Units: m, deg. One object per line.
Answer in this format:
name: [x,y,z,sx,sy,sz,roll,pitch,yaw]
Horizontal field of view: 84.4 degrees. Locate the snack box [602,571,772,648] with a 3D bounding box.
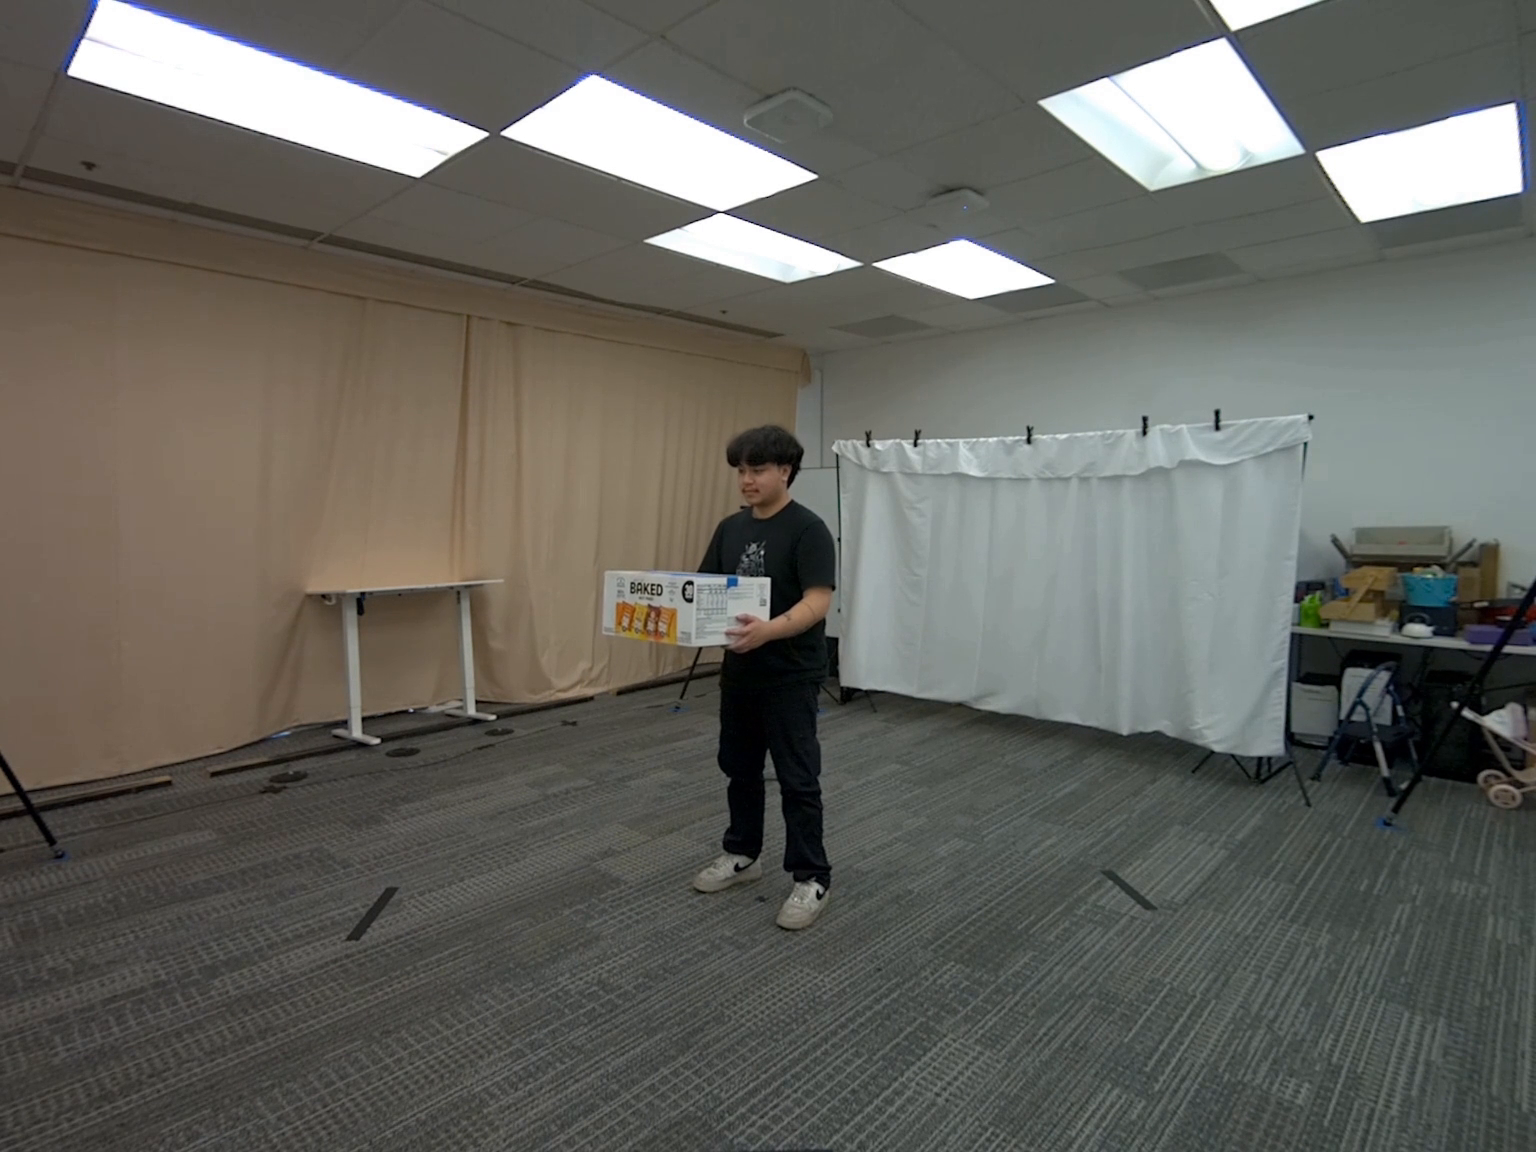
snack box: [-0.255,0.094,2.662,0.418,0.205,0.329,4,2,42]
